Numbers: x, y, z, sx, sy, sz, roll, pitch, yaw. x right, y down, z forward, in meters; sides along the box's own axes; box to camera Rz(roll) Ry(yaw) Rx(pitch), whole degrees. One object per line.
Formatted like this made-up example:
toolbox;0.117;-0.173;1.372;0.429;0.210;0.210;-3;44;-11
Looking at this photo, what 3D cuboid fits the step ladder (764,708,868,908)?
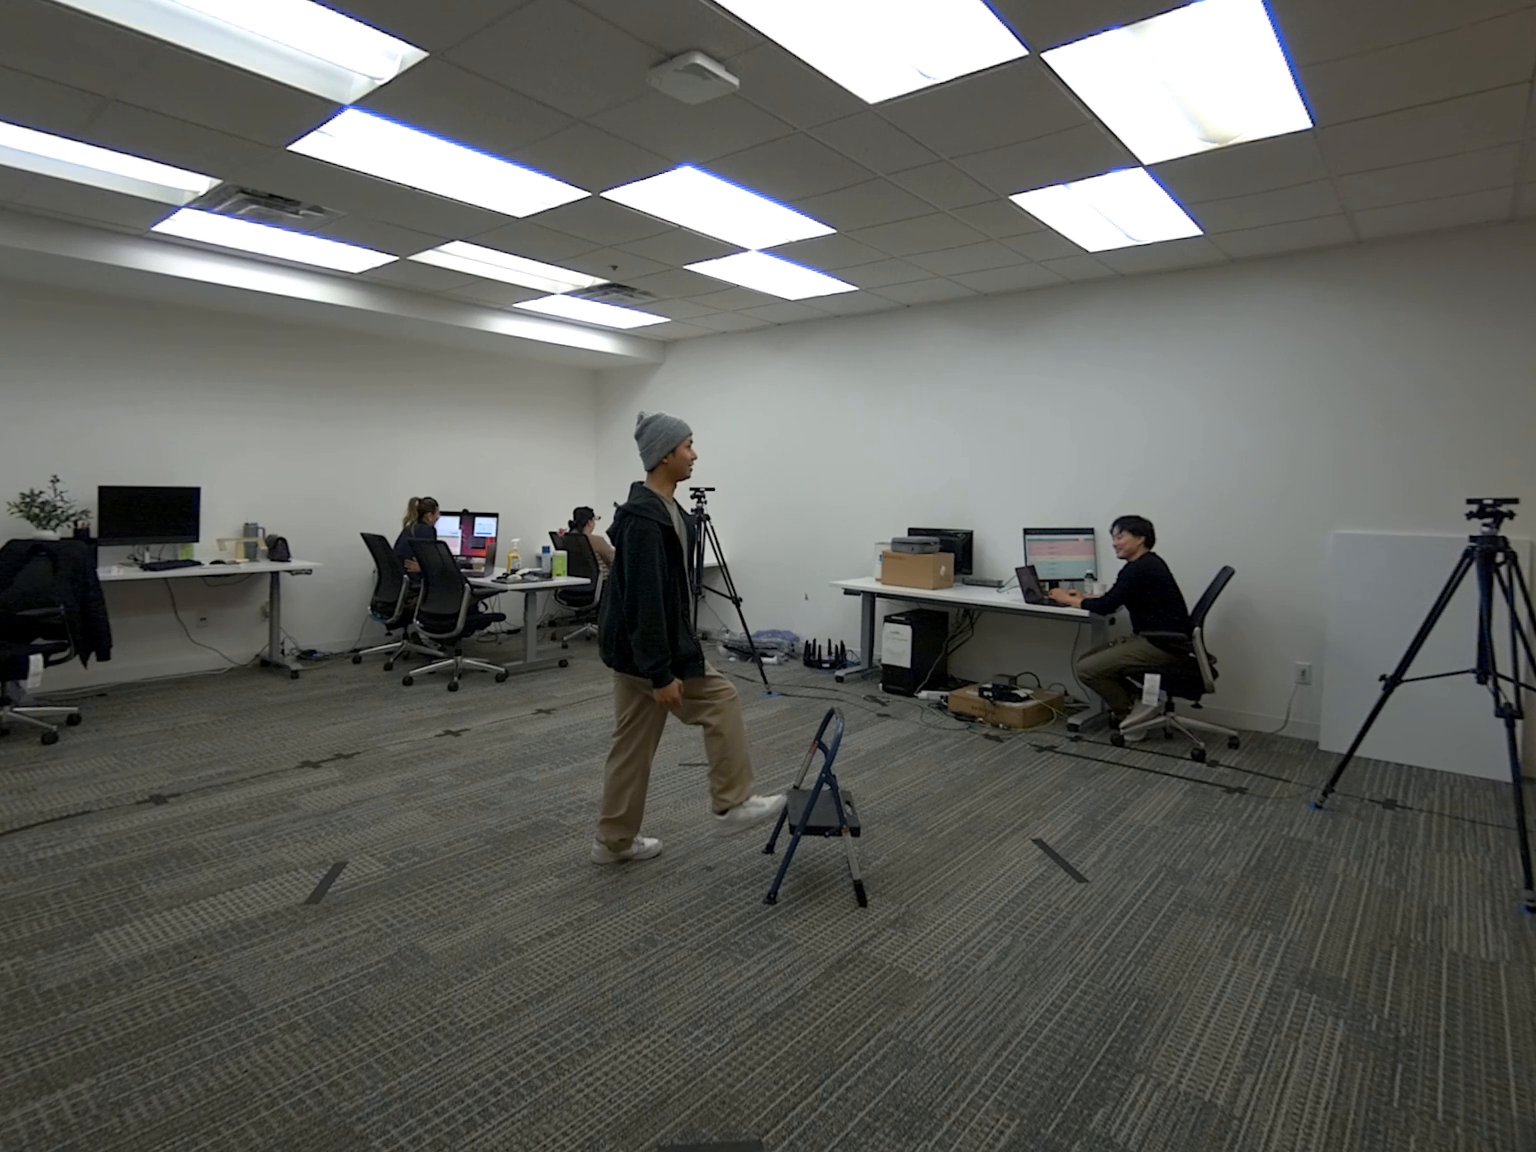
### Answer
step ladder;0.163;0.781;3.034;0.350;0.604;0.431;1;4;0
